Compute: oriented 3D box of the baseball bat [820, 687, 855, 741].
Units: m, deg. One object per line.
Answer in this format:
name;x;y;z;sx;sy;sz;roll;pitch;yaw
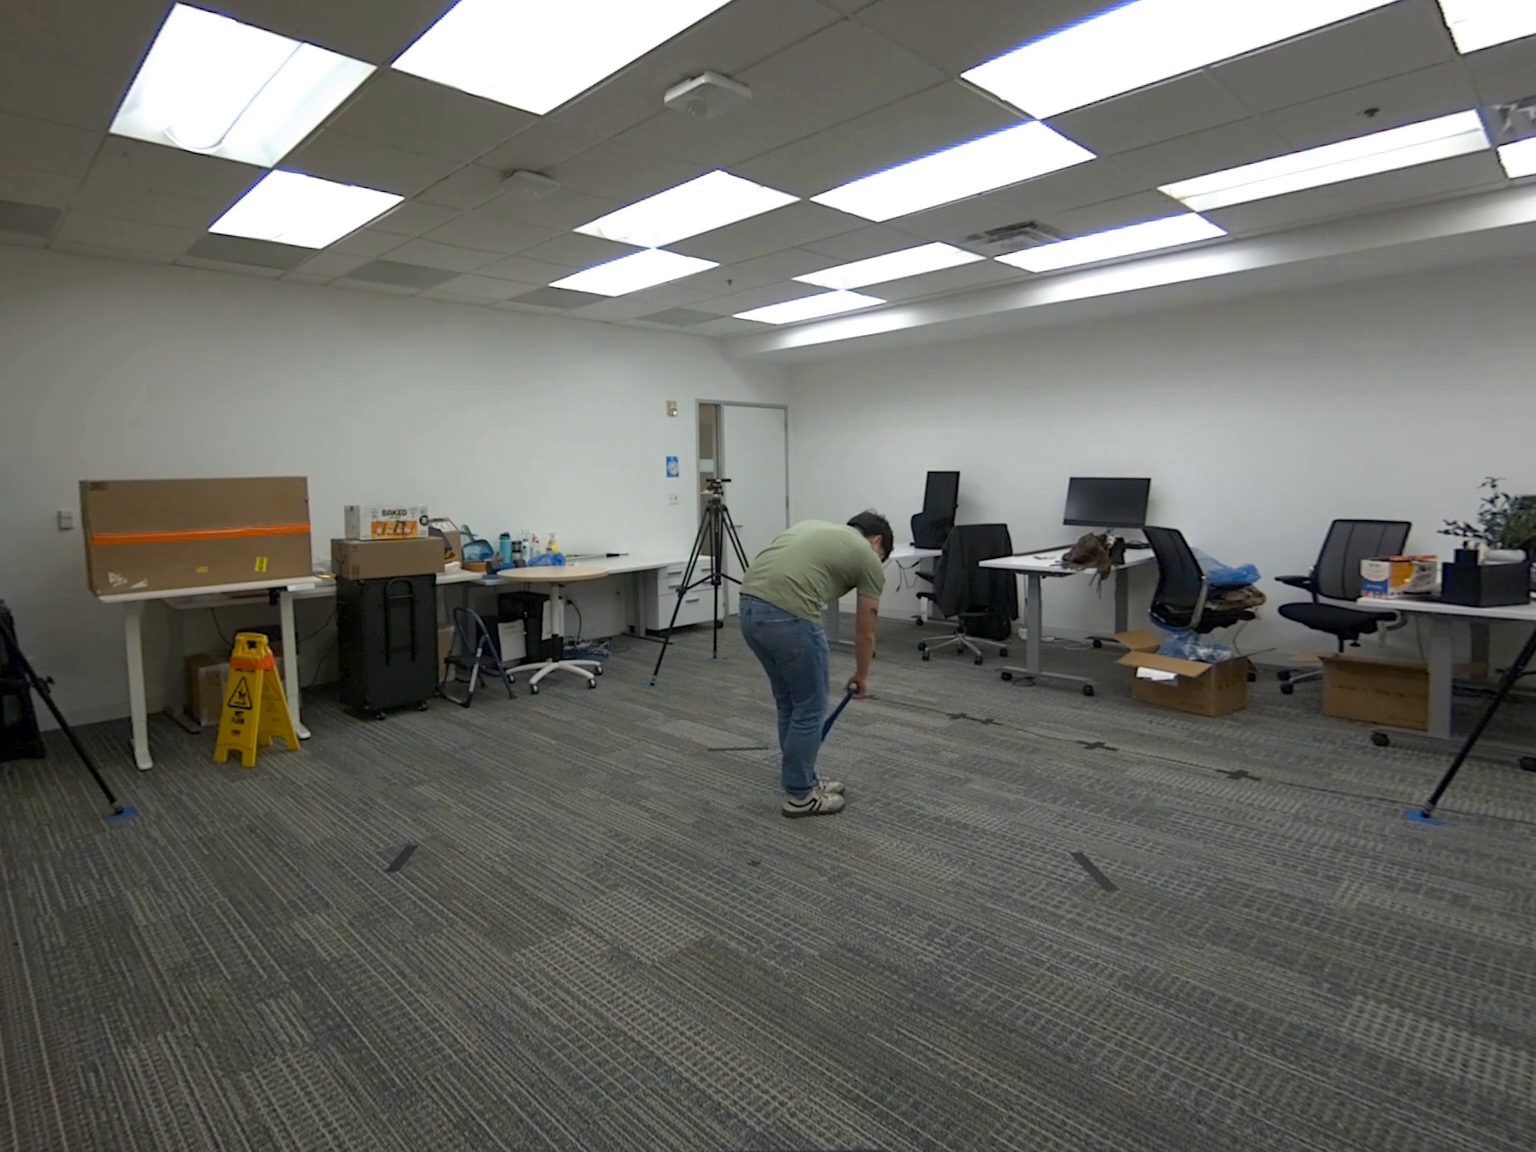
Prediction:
baseball bat;0.245;0.718;3.893;0.087;0.541;0.091;30;19;-14
